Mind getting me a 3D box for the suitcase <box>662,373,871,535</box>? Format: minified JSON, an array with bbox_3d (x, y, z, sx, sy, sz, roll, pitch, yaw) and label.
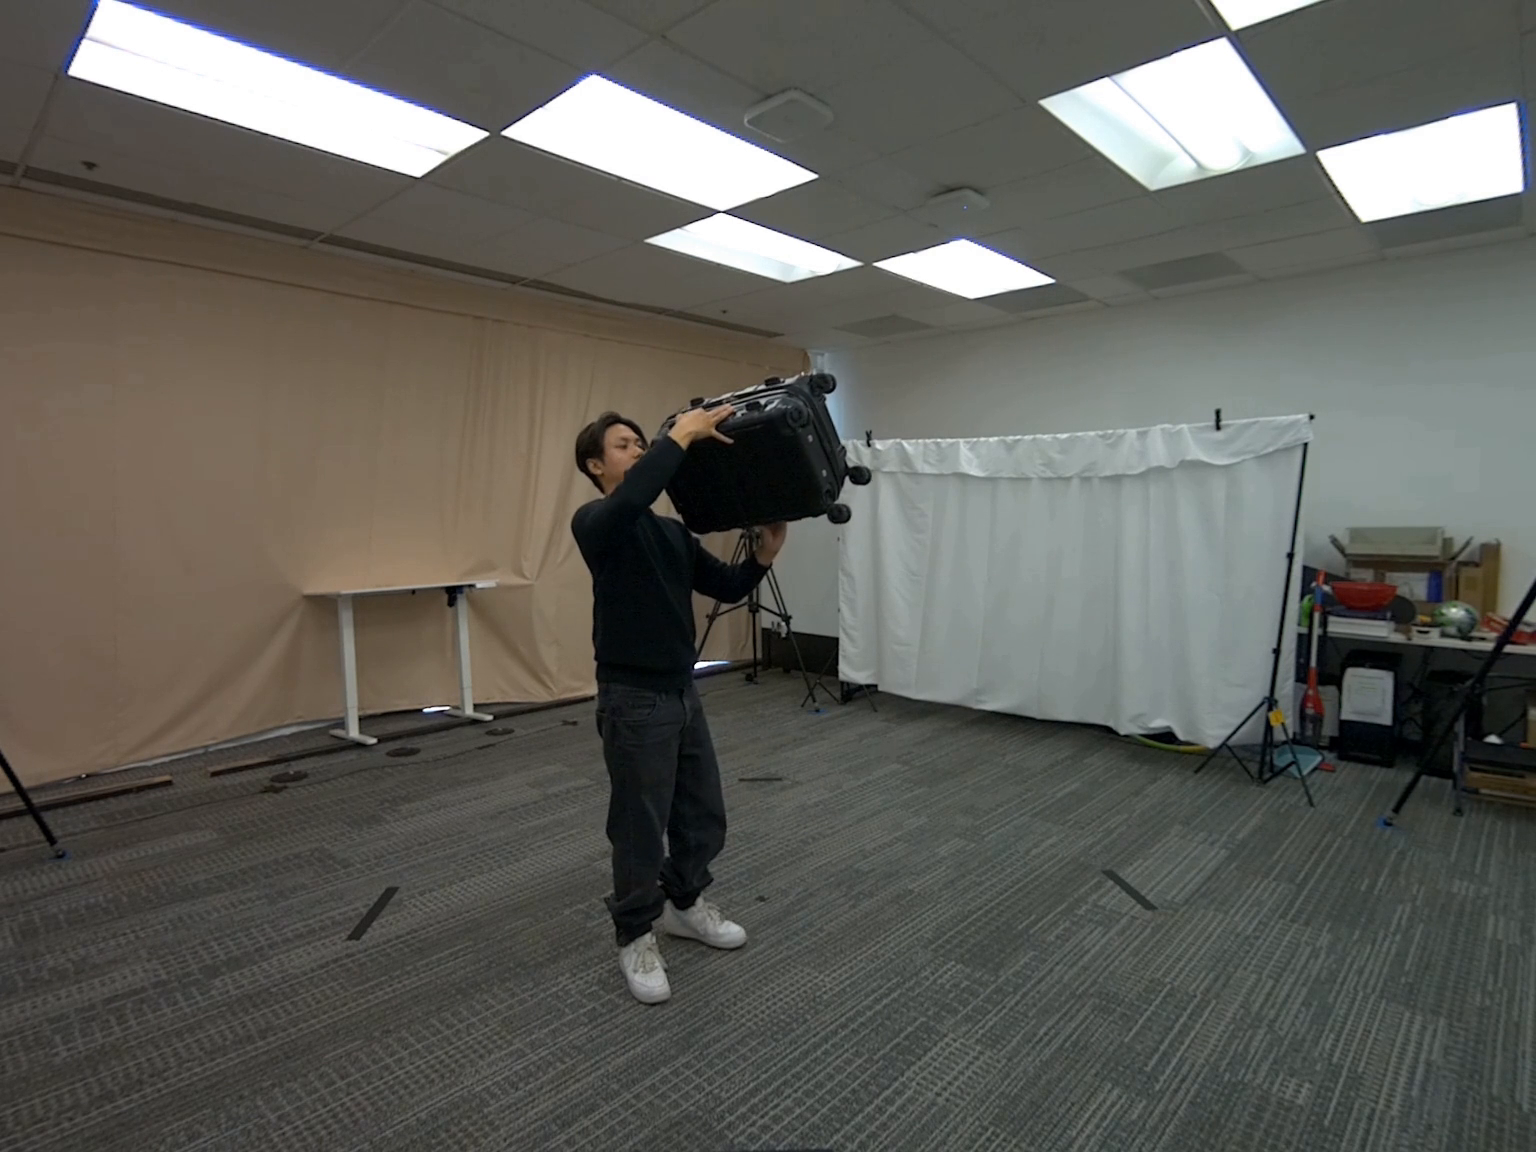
[{"bbox_3d":[-0.033,-0.335,2.395,0.564,0.366,0.247,-7,31,34],"label":"suitcase"}]
